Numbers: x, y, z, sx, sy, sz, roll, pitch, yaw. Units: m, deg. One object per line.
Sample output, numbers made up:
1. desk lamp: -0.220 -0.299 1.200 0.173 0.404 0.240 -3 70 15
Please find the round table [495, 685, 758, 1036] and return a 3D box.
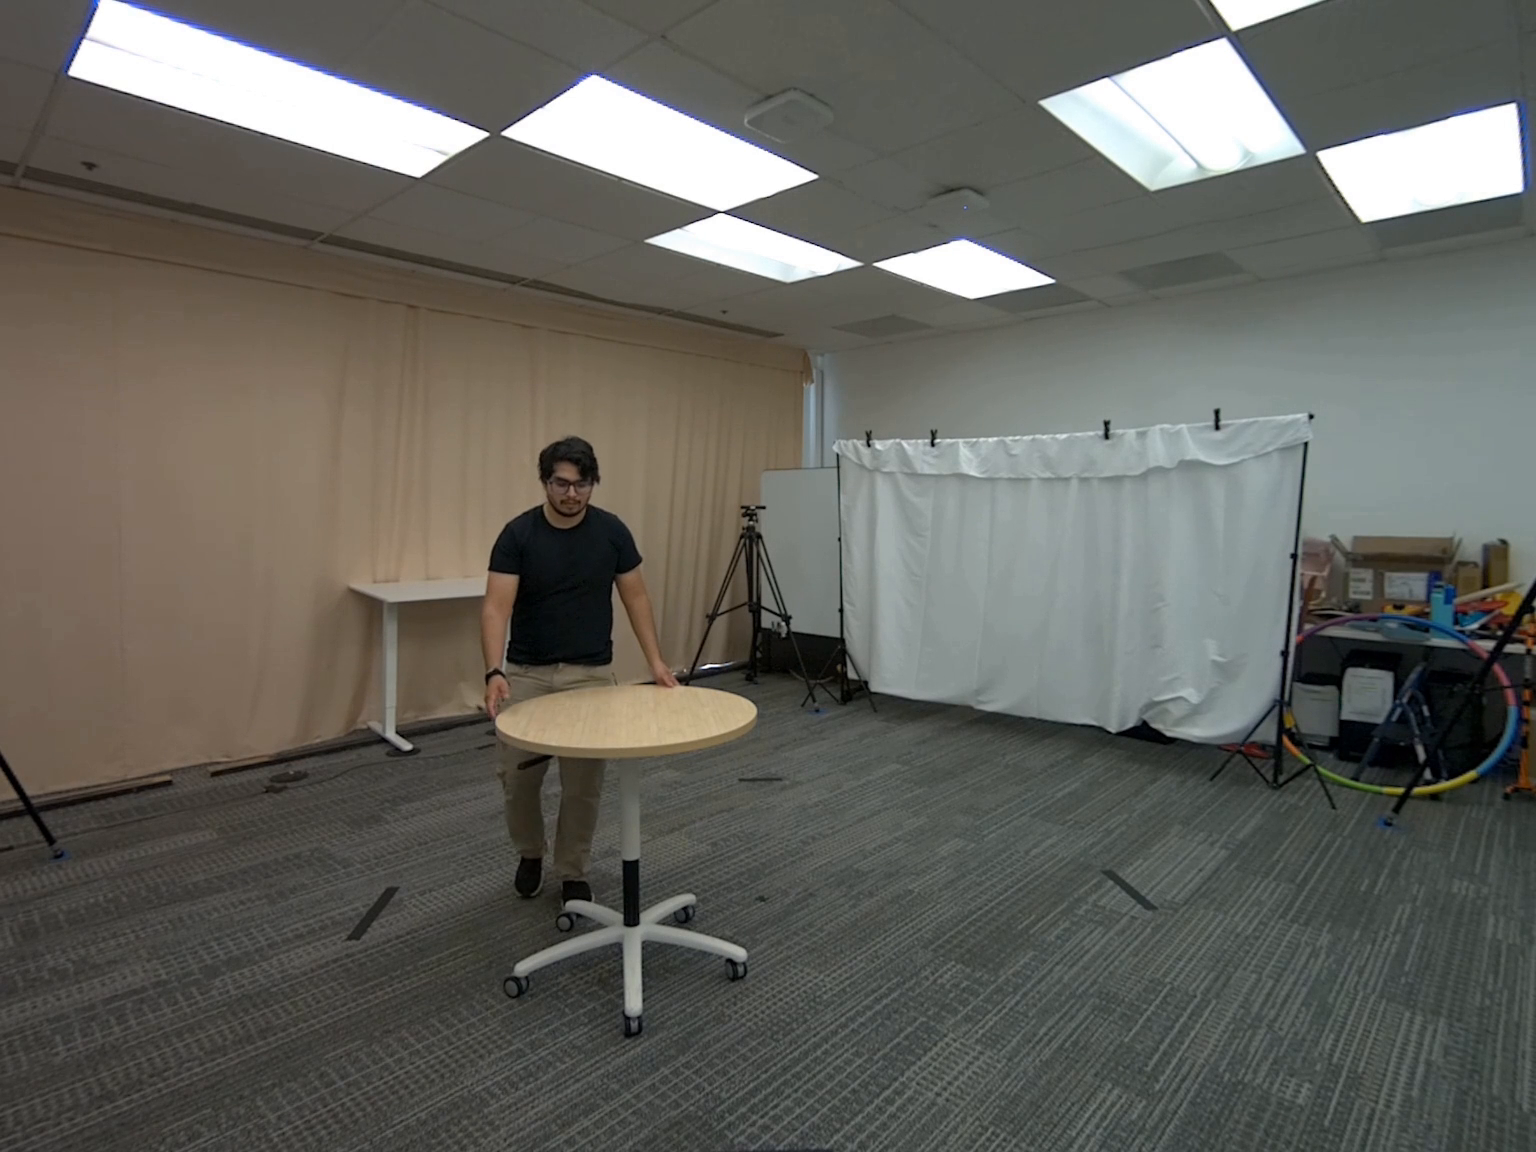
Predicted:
1. round table: -0.395 0.793 2.510 0.784 0.785 0.788 -1 4 -2
